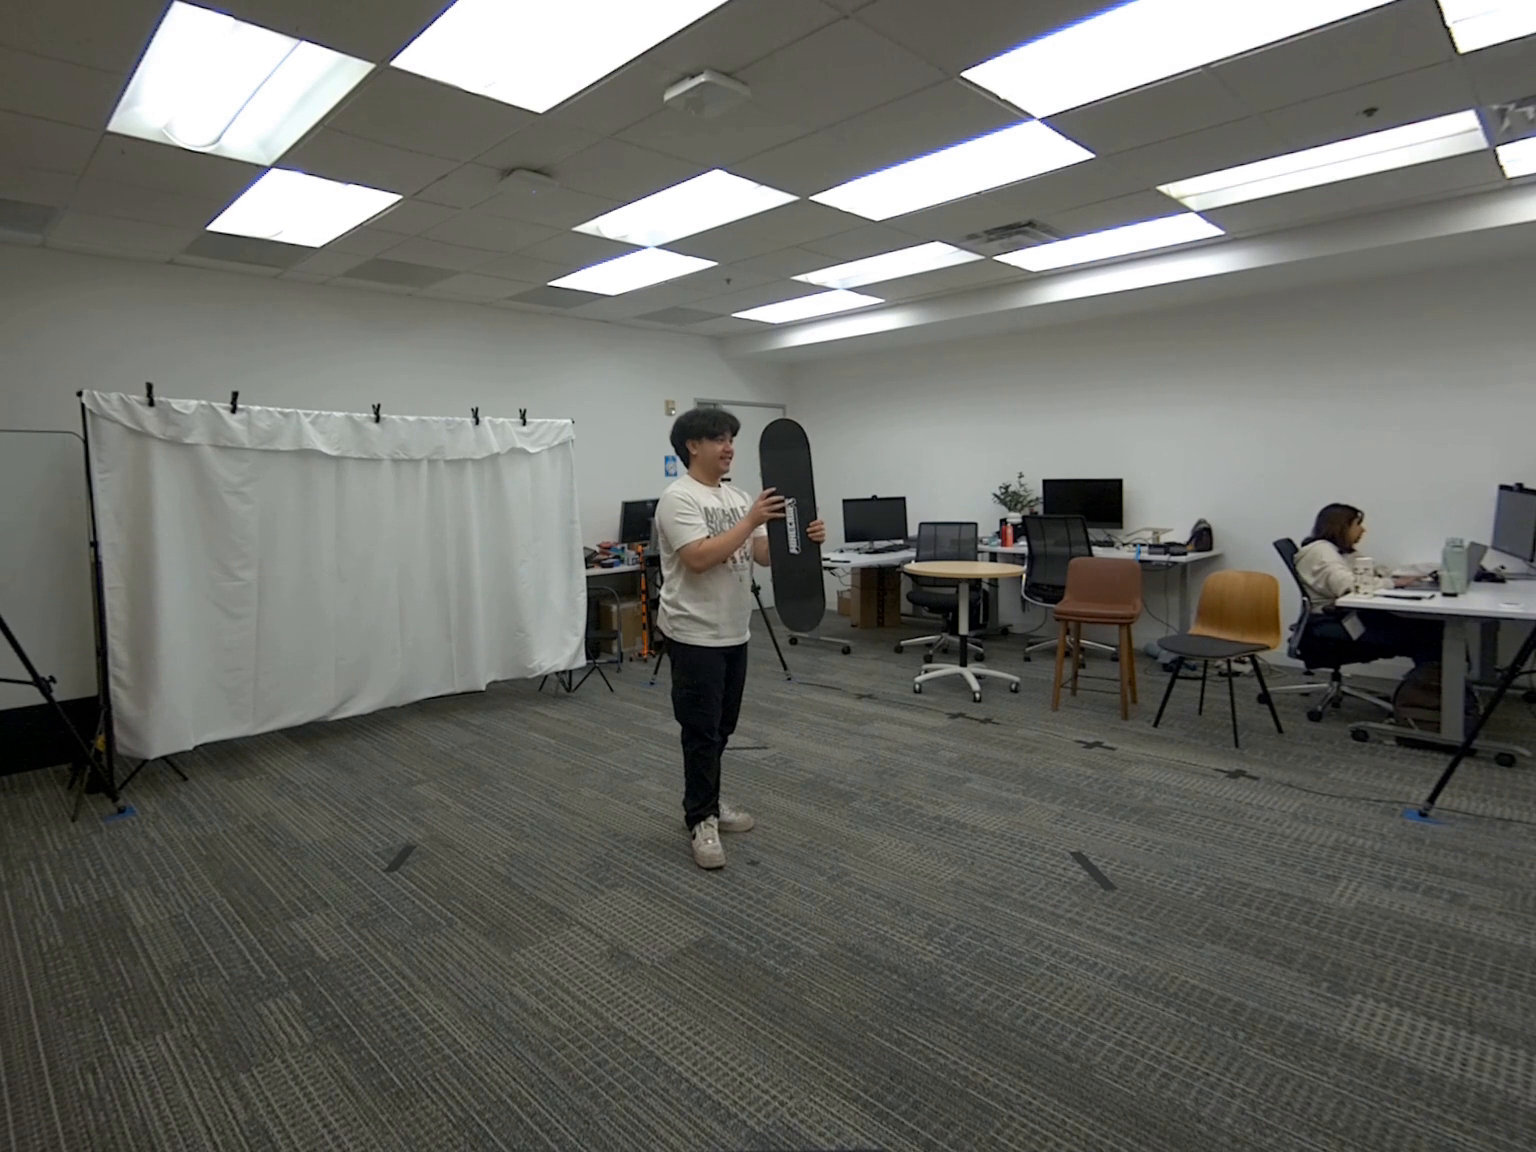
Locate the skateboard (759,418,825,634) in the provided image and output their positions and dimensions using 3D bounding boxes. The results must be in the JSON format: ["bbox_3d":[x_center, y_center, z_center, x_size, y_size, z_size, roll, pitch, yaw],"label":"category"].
[{"bbox_3d":[0.091,-0.185,3.164,0.194,0.783,0.110,-5,3,5],"label":"skateboard"}]
